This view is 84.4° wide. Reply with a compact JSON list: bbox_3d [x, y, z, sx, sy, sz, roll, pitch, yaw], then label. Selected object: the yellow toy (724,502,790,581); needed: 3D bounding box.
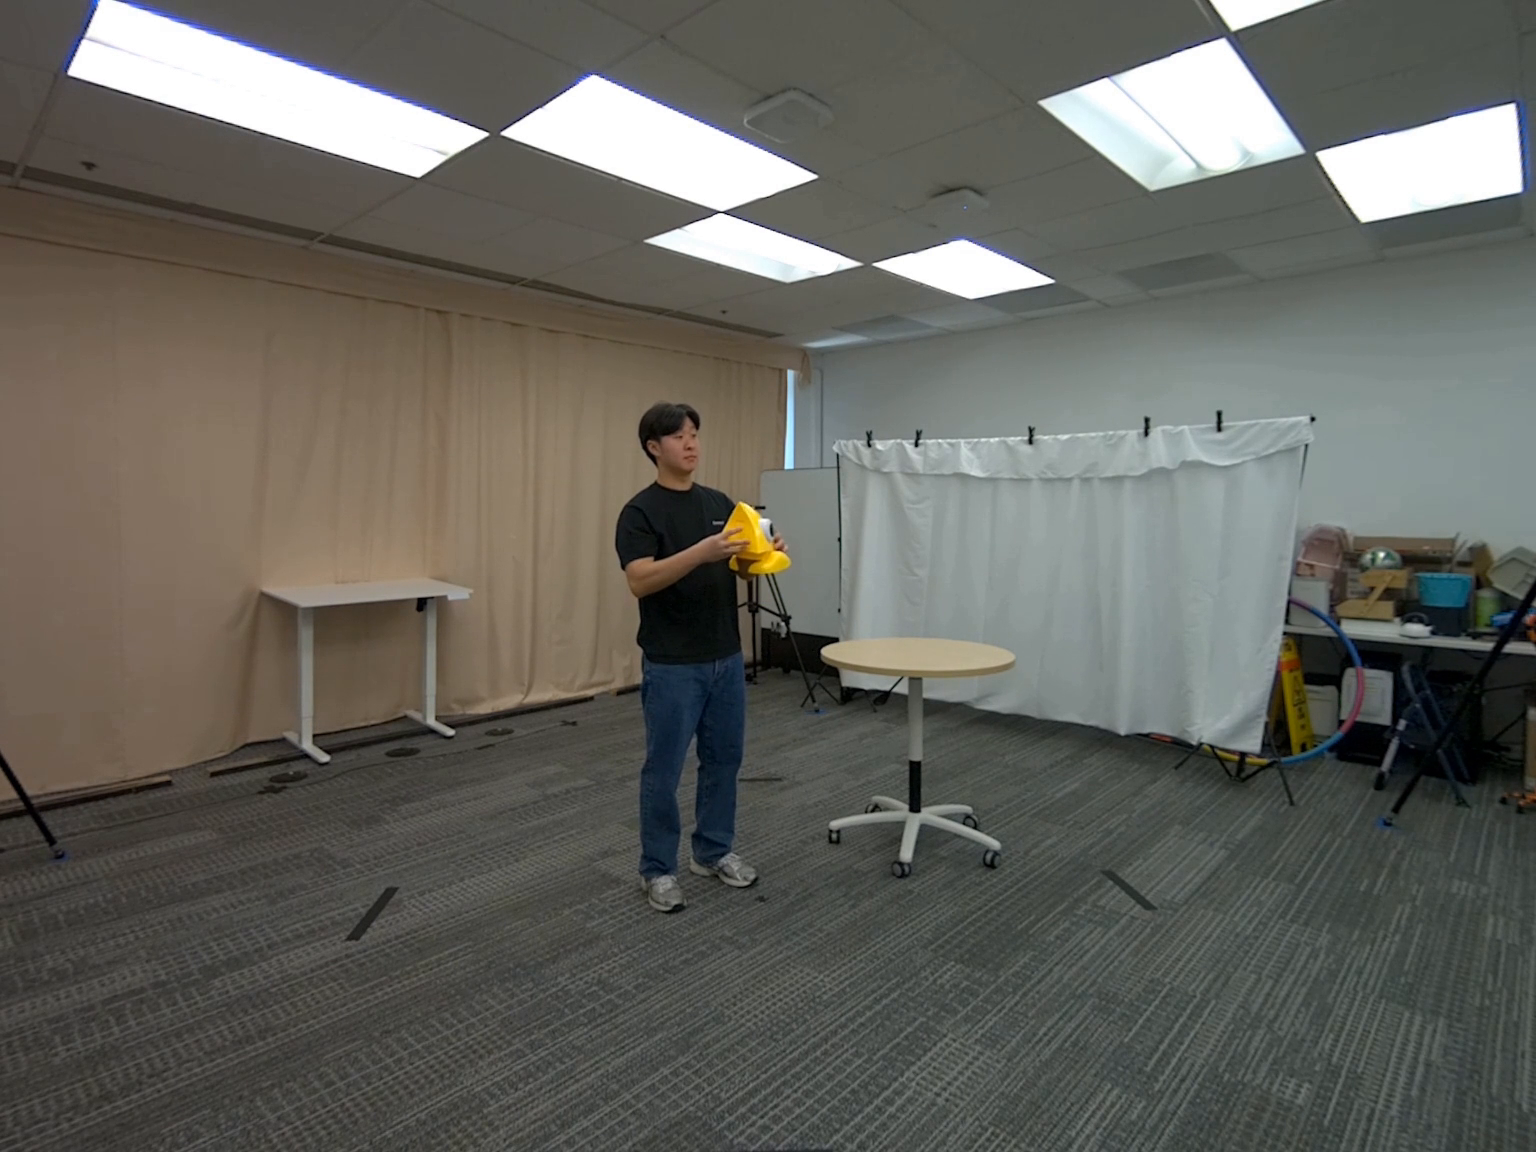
[{"bbox_3d":[-0.045,-0.143,2.769,0.212,0.228,0.188,9,20,44],"label":"yellow toy"}]
